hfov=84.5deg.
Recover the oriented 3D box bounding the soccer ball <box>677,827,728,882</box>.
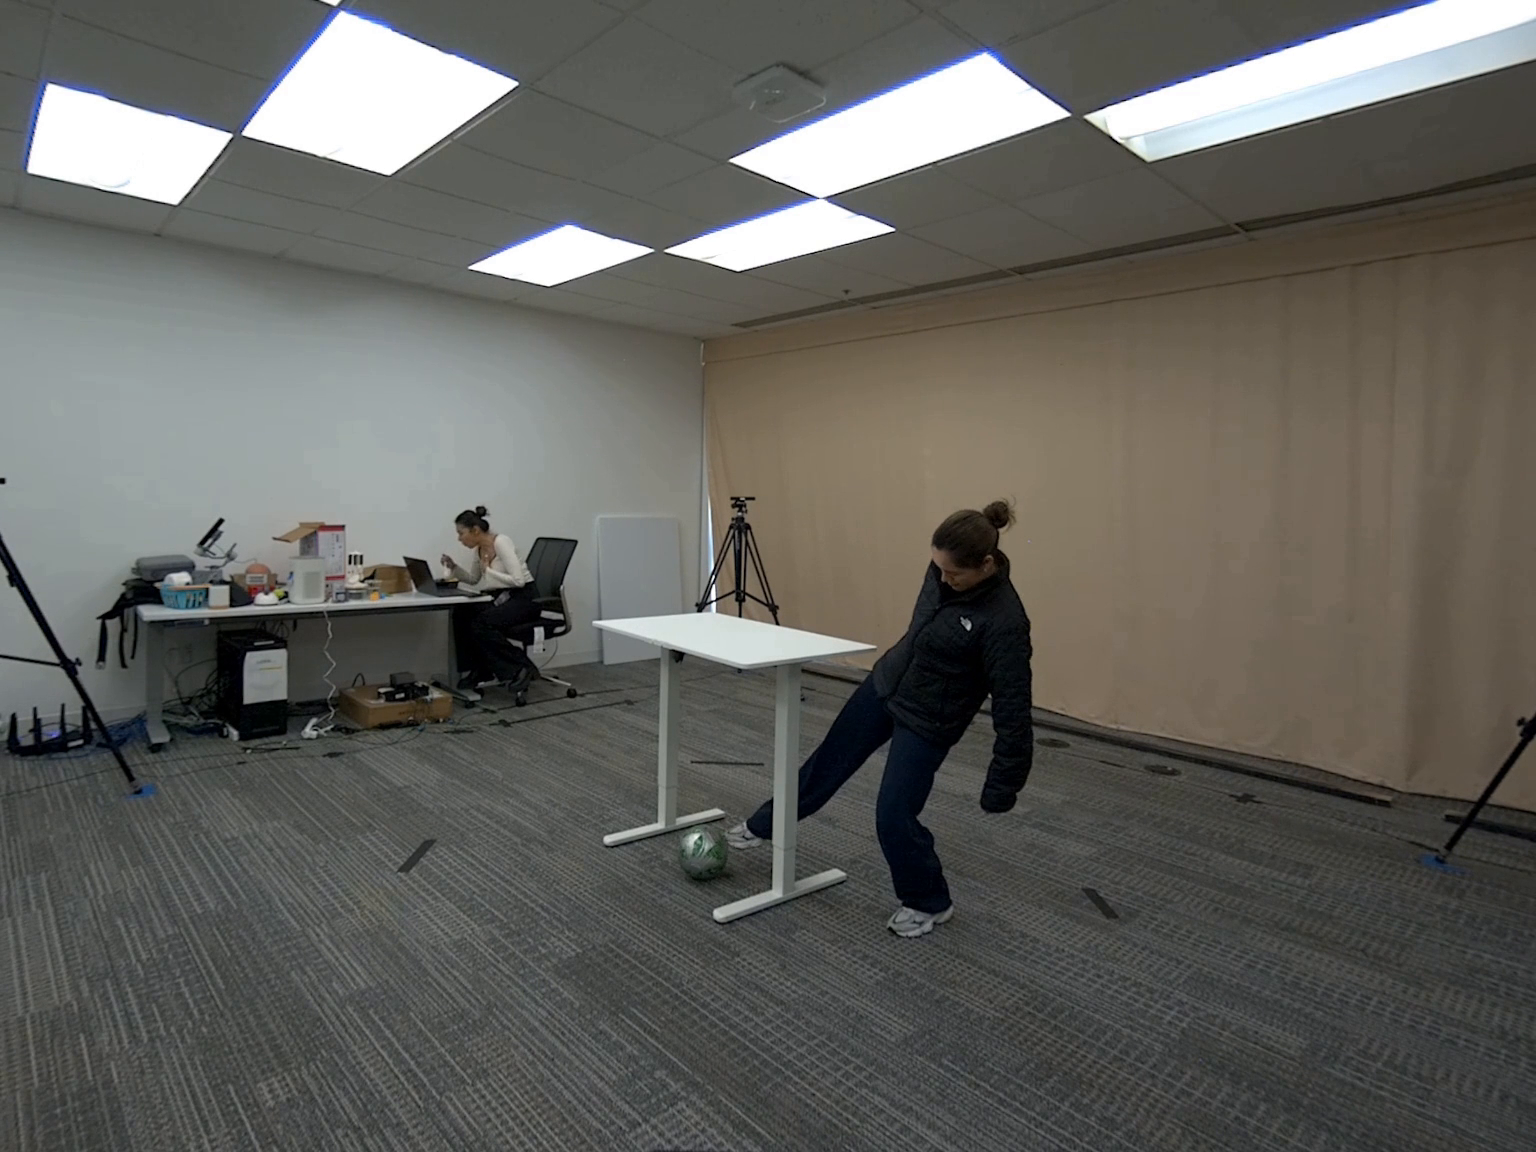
[{"bbox_3d":[-0.250,1.009,3.082,0.187,0.187,0.188,1,4,-1],"label":"soccer ball"}]
